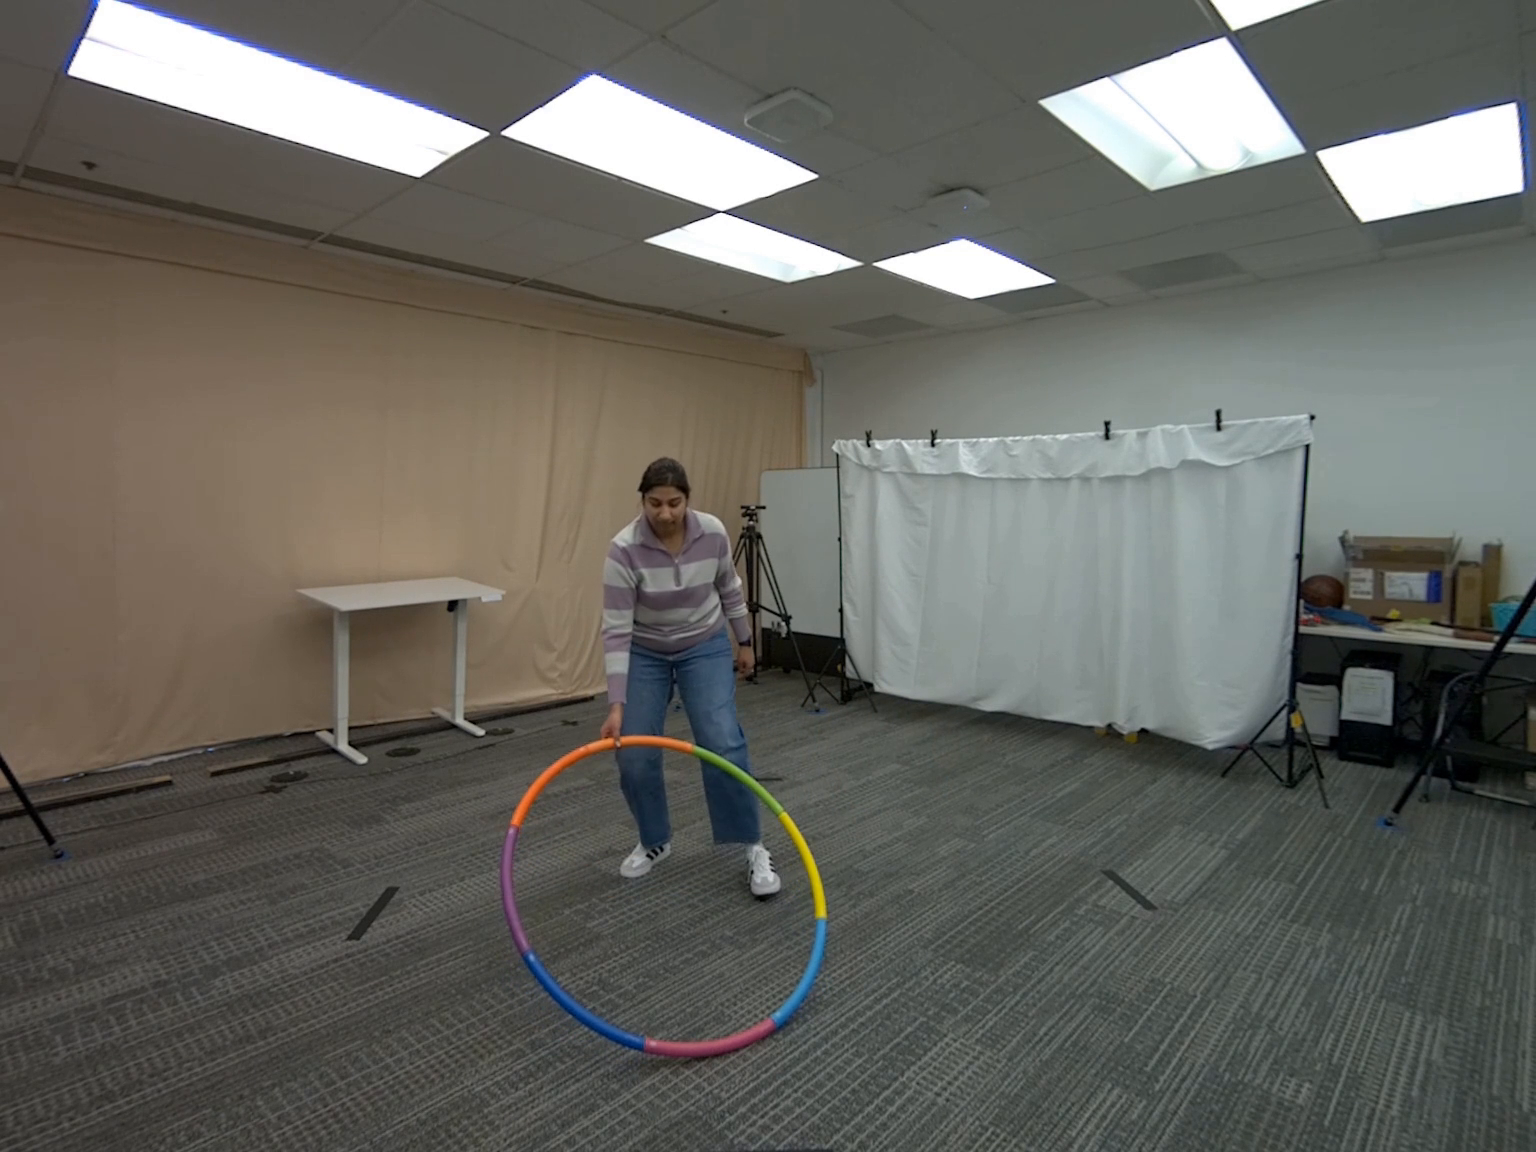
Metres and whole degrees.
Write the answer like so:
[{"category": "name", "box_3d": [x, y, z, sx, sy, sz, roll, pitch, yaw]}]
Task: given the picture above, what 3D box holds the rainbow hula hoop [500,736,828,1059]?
[{"category": "rainbow hula hoop", "box_3d": [-0.264, 0.872, 2.478, 0.965, 0.035, 0.997, 14, 36, -12]}]
